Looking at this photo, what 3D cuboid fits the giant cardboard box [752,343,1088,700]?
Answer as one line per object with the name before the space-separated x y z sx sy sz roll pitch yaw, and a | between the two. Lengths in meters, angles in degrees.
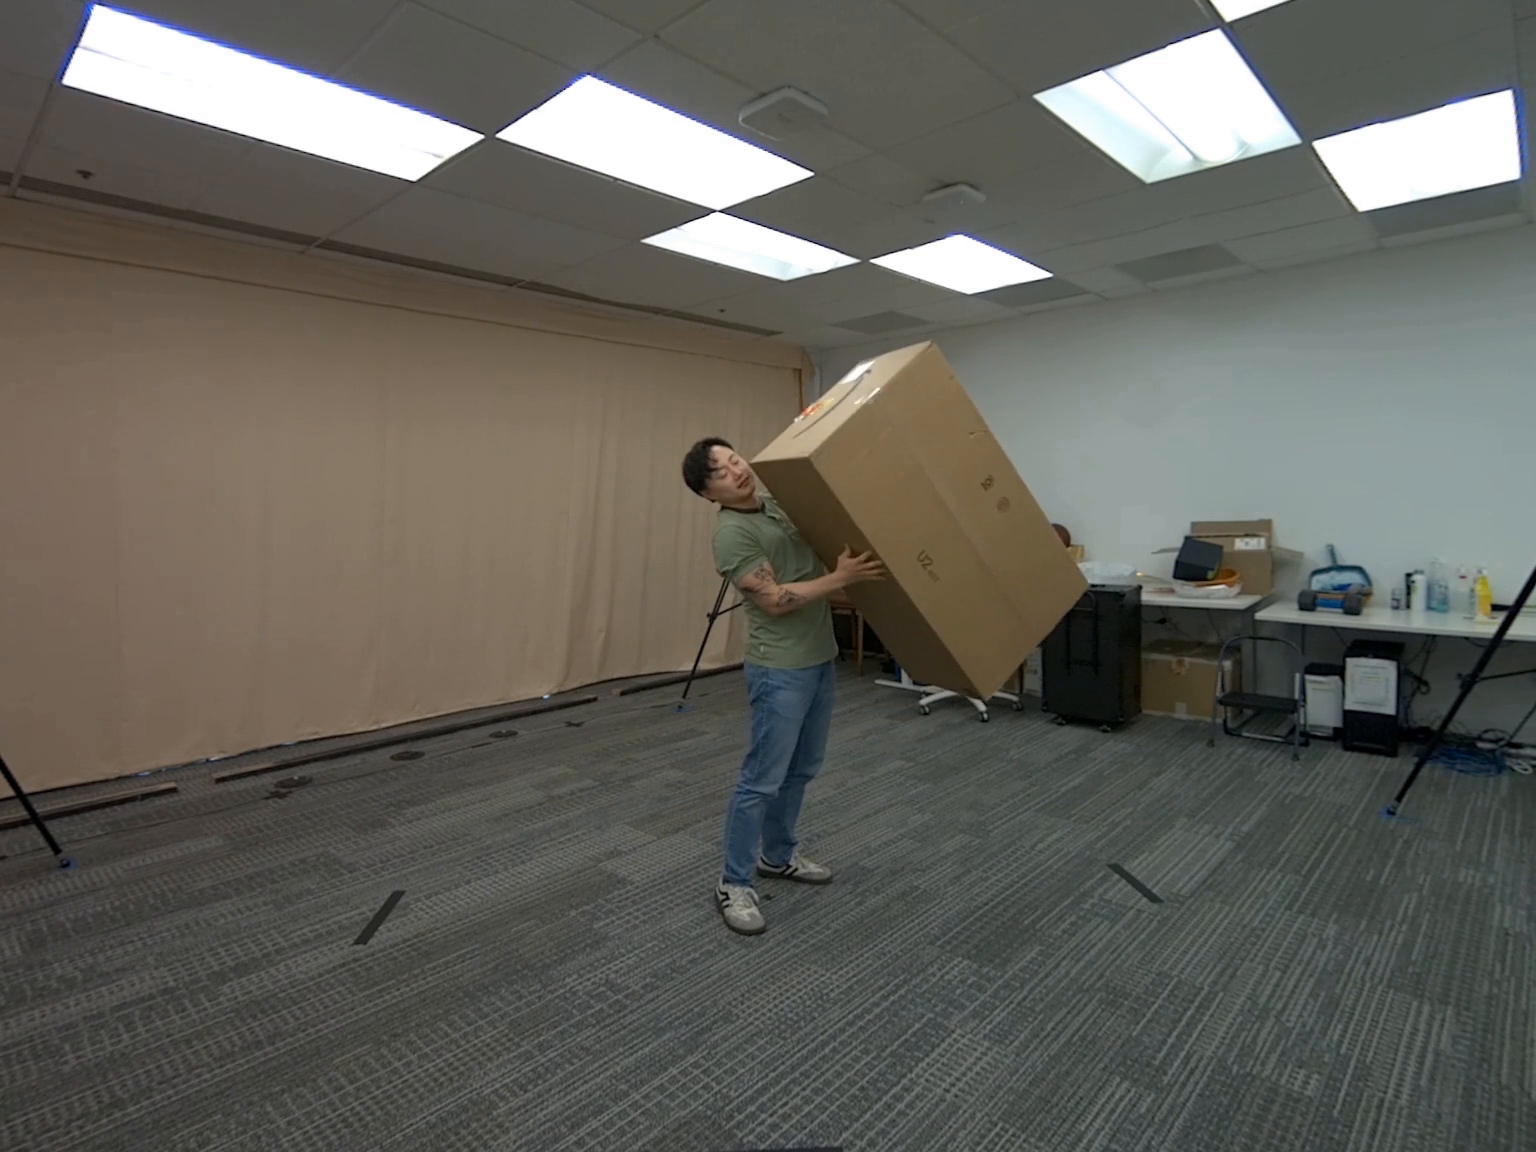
giant cardboard box | 0.523 -0.169 2.842 0.574 1.006 0.437 -43 18 -17
